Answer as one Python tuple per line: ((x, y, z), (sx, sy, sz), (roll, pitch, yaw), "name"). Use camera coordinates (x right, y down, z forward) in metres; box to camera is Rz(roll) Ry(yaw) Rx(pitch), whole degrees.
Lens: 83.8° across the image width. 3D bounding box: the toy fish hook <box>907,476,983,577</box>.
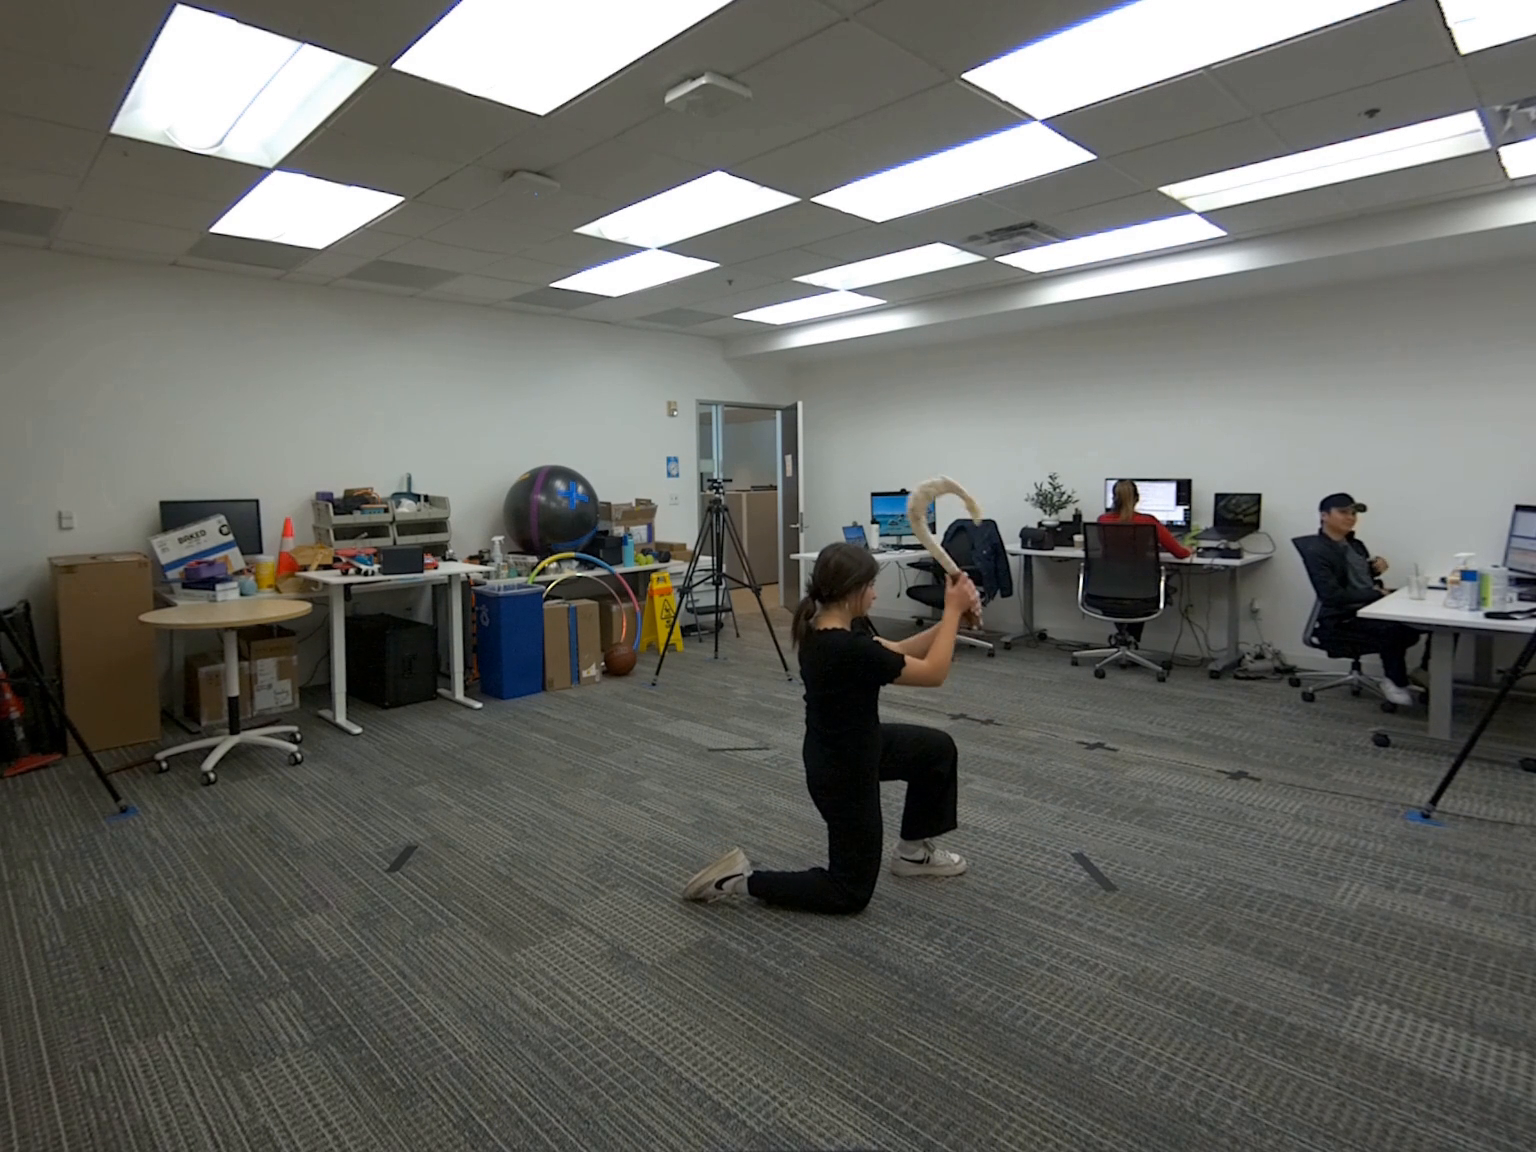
((0.622, -0.049, 2.769), (0.226, 0.507, 0.048), (-16, 0, 7), "toy fish hook")
